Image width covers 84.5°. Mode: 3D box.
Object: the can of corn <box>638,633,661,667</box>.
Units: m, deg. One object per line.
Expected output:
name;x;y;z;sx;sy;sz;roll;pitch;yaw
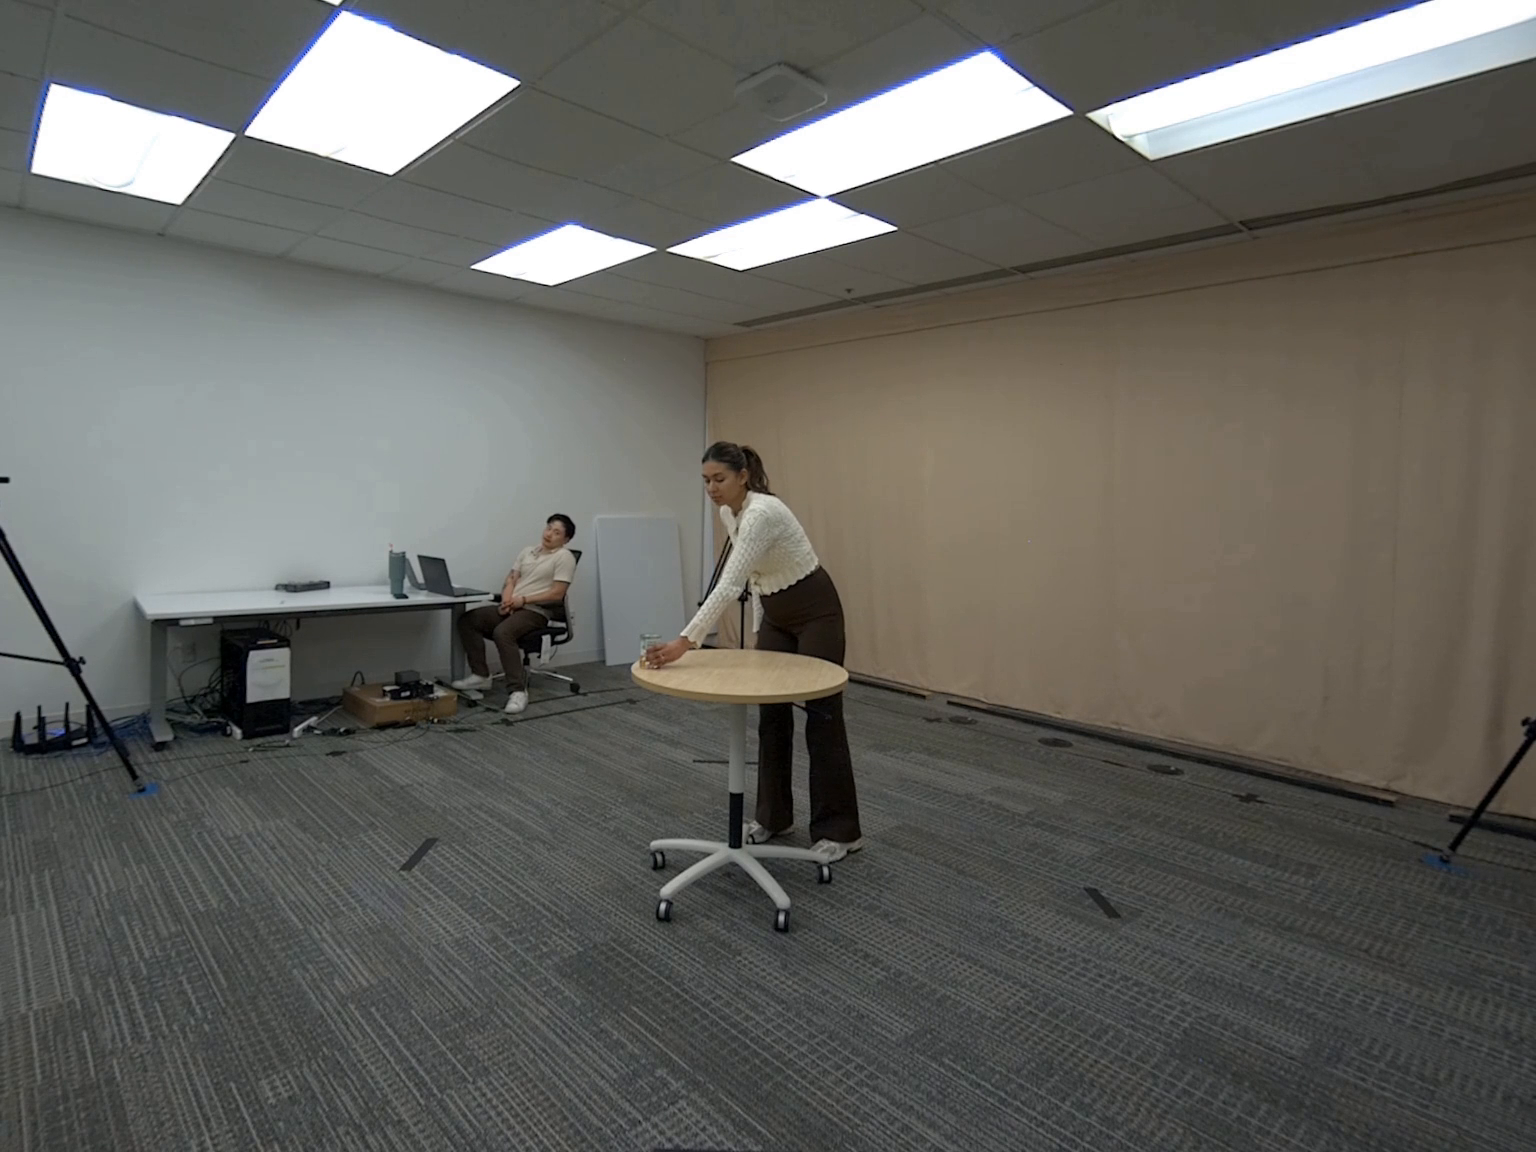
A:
can of corn;-0.418;0.264;2.973;0.074;0.110;0.074;2;5;-2
